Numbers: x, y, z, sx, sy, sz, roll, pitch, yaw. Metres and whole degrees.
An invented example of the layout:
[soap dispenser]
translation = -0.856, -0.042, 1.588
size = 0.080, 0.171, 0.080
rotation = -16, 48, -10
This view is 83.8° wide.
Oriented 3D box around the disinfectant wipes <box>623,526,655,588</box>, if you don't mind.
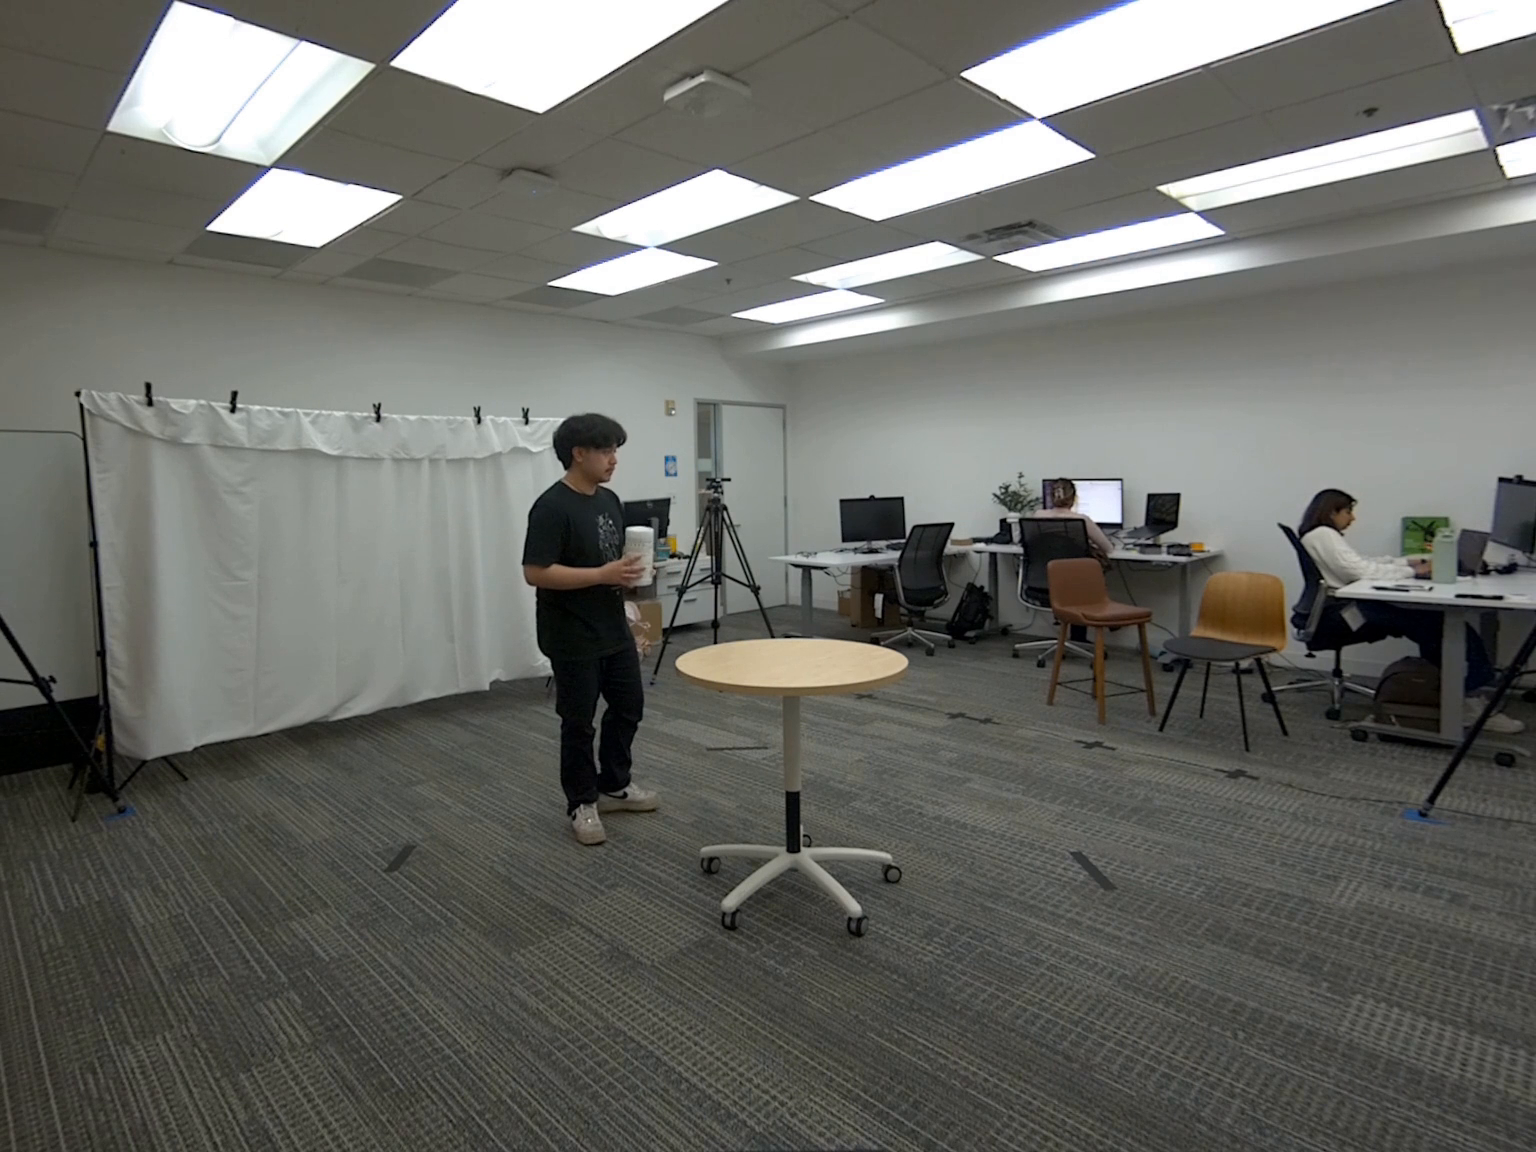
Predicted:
[disinfectant wipes]
translation = -0.495, -0.076, 3.272
size = 0.117, 0.216, 0.119
rotation = 4, 8, -2
